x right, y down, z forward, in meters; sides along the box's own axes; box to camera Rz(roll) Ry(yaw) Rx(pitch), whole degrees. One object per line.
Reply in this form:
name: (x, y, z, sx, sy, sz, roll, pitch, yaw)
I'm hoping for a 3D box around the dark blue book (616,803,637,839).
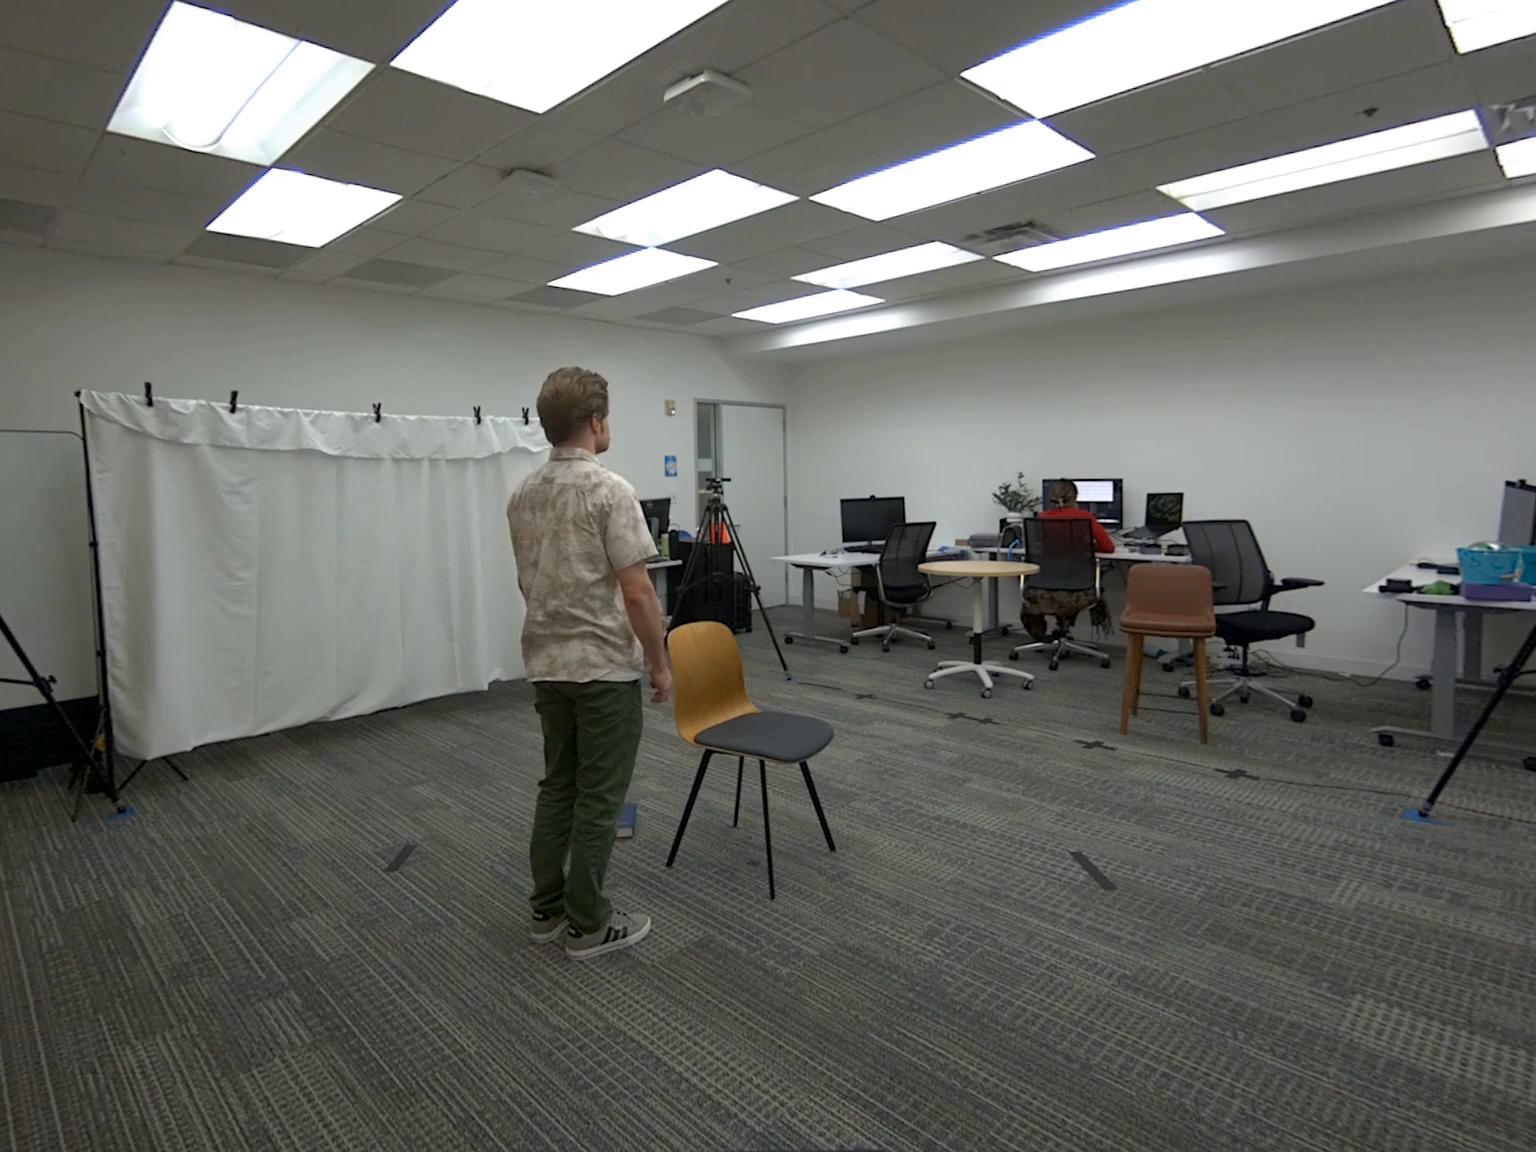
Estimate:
dark blue book: (-0.619, 0.990, 3.463, 0.163, 0.045, 0.247, -2, 7, -5)
